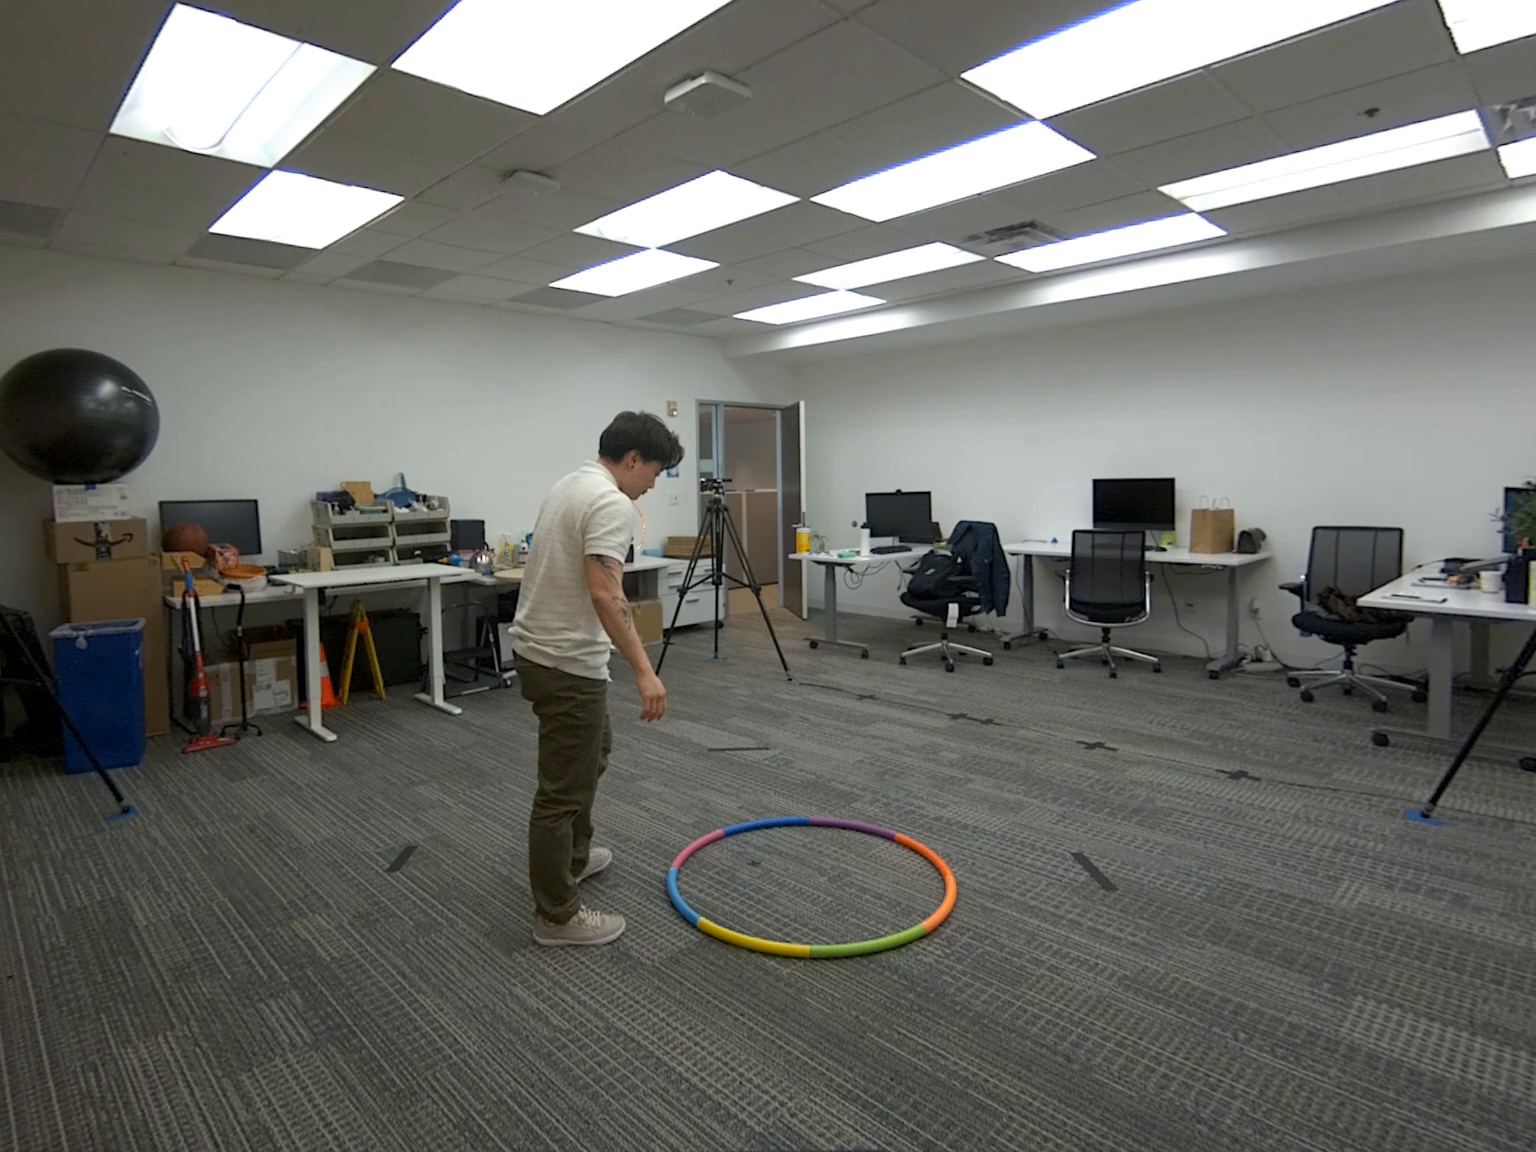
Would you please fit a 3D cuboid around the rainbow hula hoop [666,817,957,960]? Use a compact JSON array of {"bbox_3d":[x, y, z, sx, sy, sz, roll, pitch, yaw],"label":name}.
[{"bbox_3d":[0.144,1.029,2.969,0.978,0.035,0.984,-1,7,-2],"label":"rainbow hula hoop"}]
